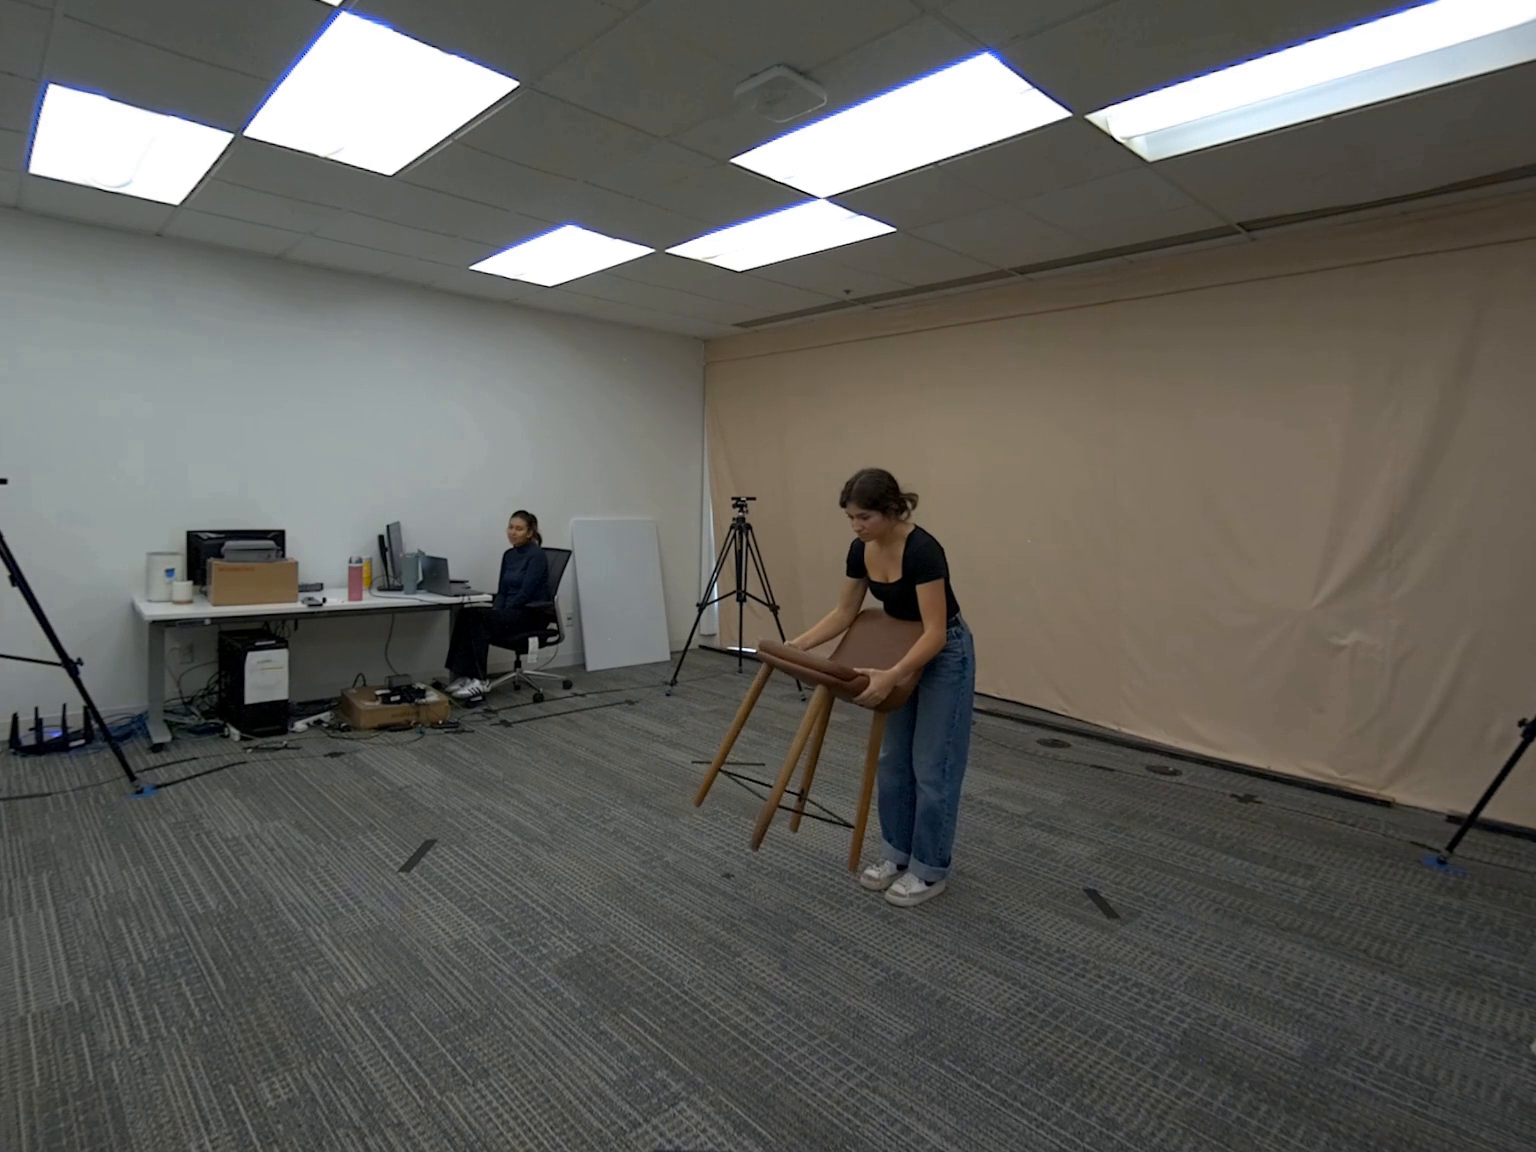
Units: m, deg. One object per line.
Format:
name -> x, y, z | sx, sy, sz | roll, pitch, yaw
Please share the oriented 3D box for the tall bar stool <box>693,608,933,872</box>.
tall bar stool -> 0.170, 0.479, 2.830 | 0.455, 0.892, 0.467 | 26, -9, -30
